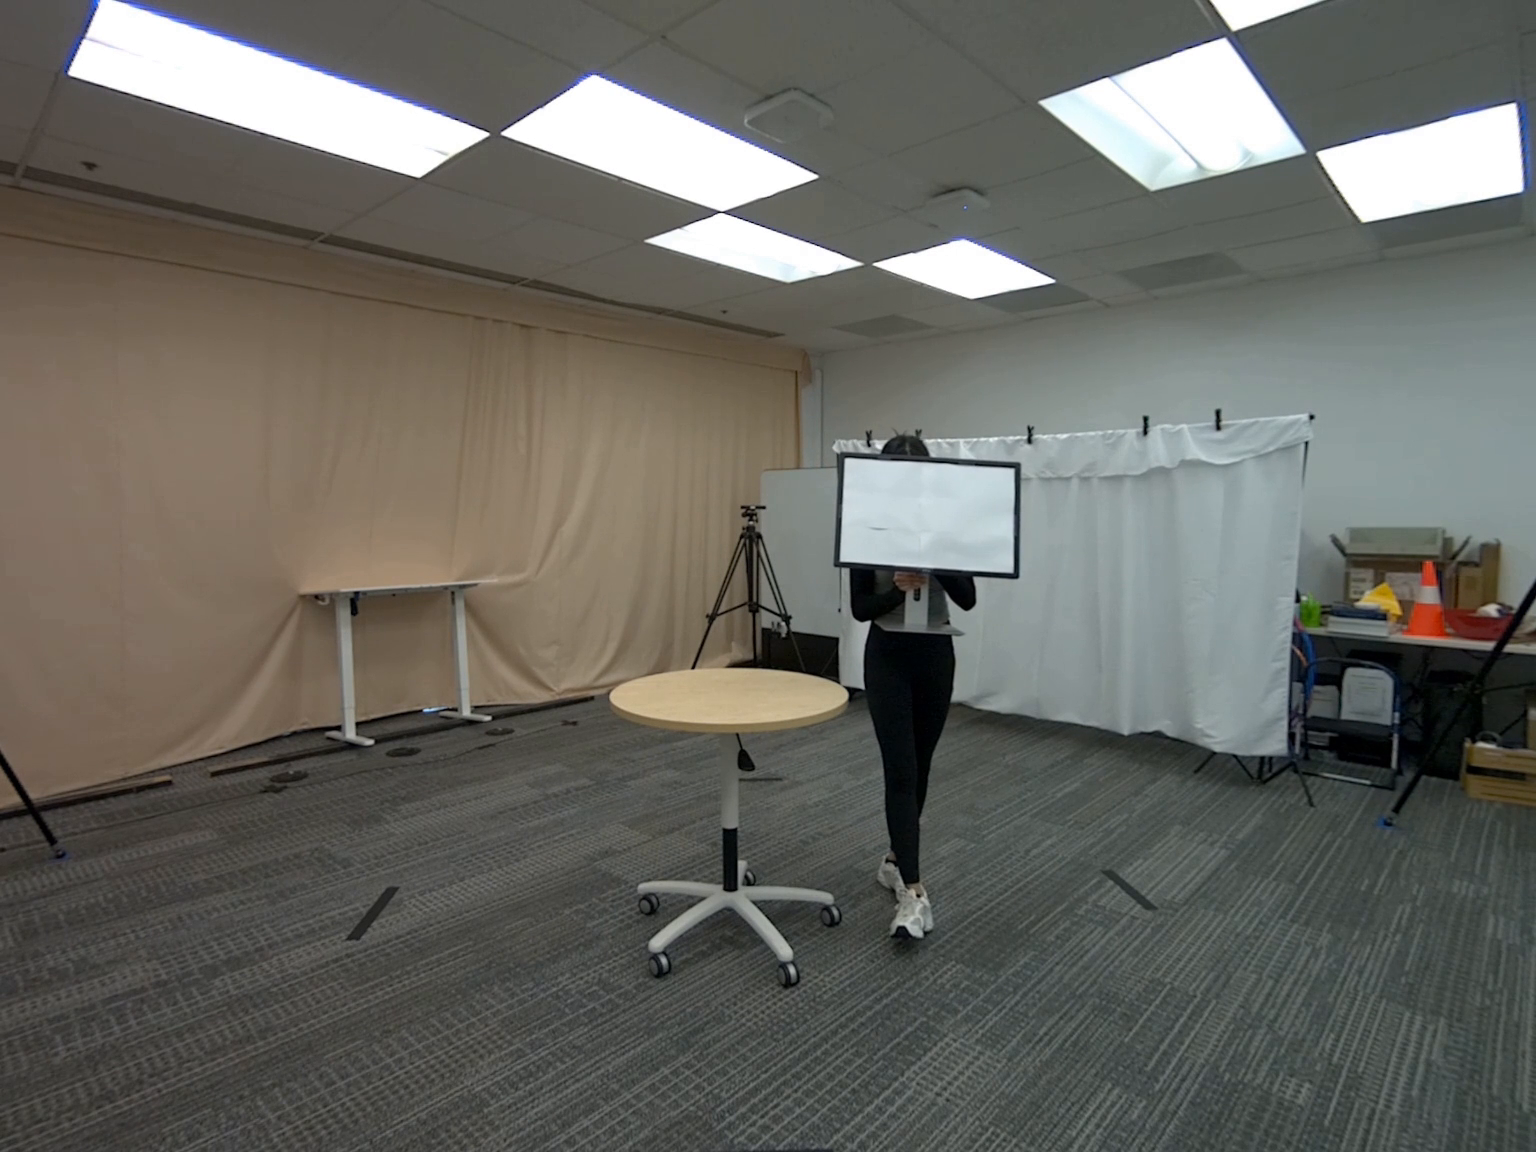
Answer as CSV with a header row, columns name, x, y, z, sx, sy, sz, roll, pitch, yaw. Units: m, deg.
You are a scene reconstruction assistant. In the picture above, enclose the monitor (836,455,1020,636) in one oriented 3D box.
name,x,y,z,sx,sy,sz,roll,pitch,yaw
monitor,0.485,-0.092,2.630,0.539,0.522,0.187,4,2,0
